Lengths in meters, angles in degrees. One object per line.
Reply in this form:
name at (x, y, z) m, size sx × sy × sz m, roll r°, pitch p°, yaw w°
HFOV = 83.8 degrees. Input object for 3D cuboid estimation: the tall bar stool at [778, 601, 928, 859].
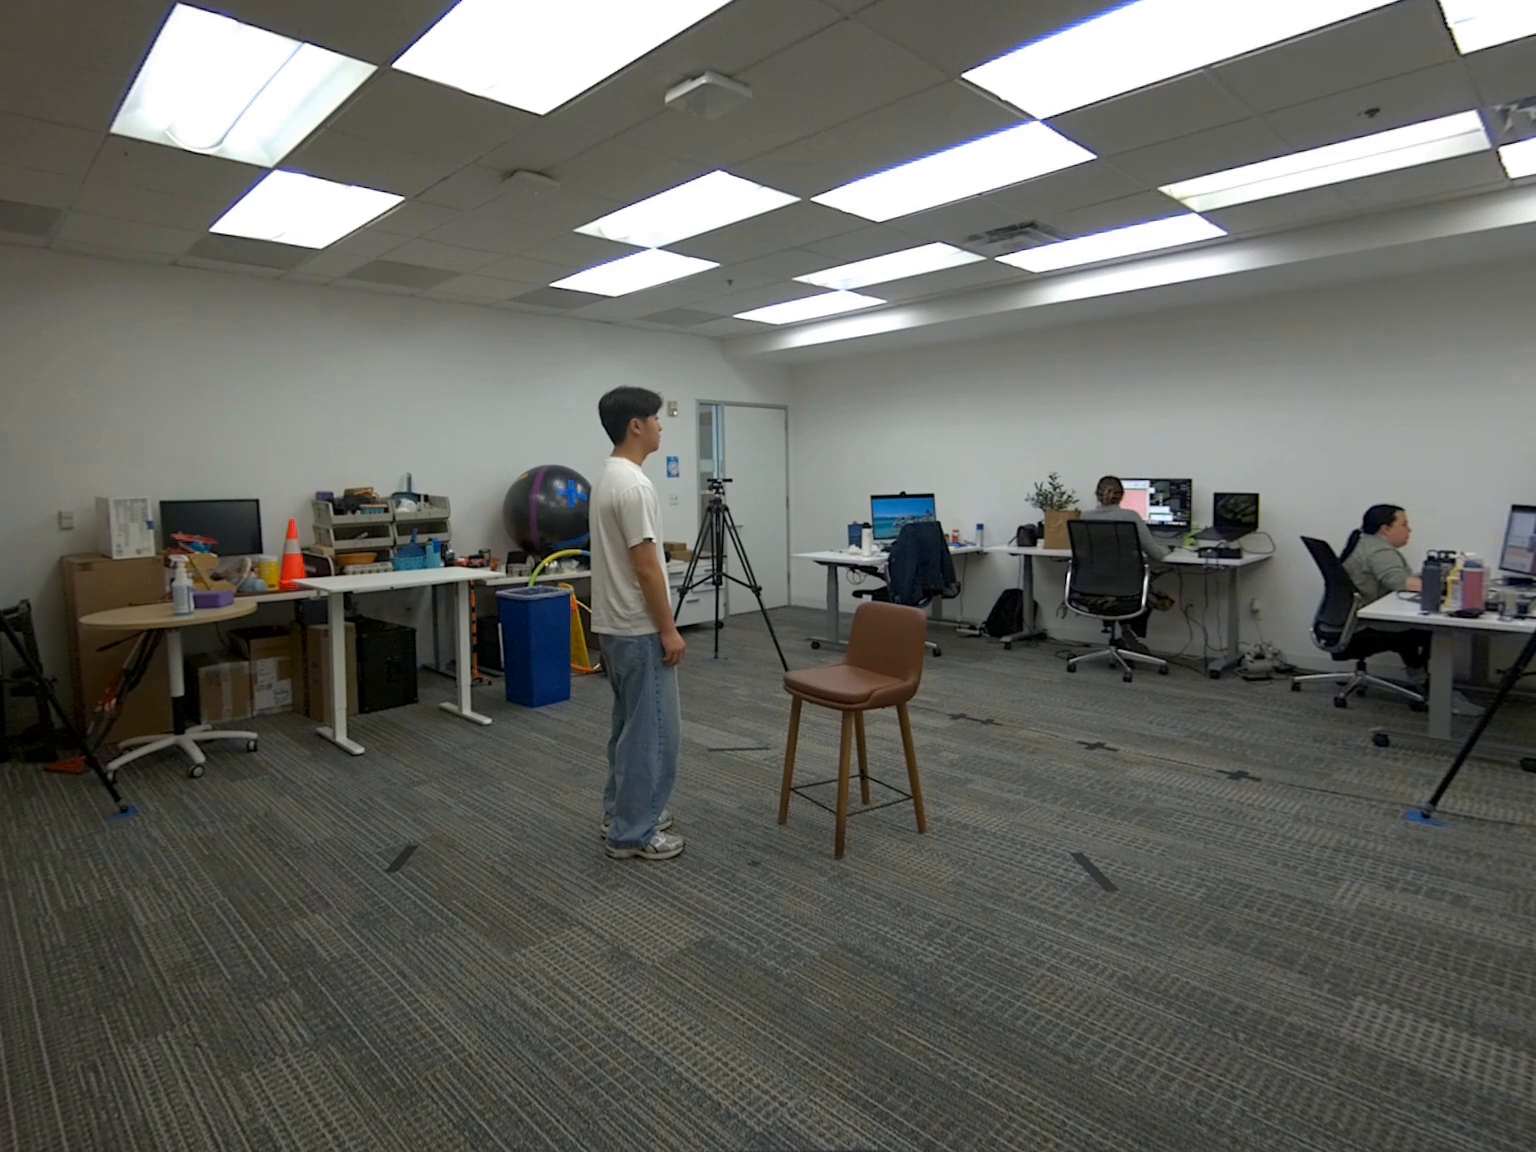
tall bar stool at (0.337, 0.568, 3.386) m, size 0.456 × 0.887 × 0.469 m, roll -1°, pitch 4°, yaw -32°
